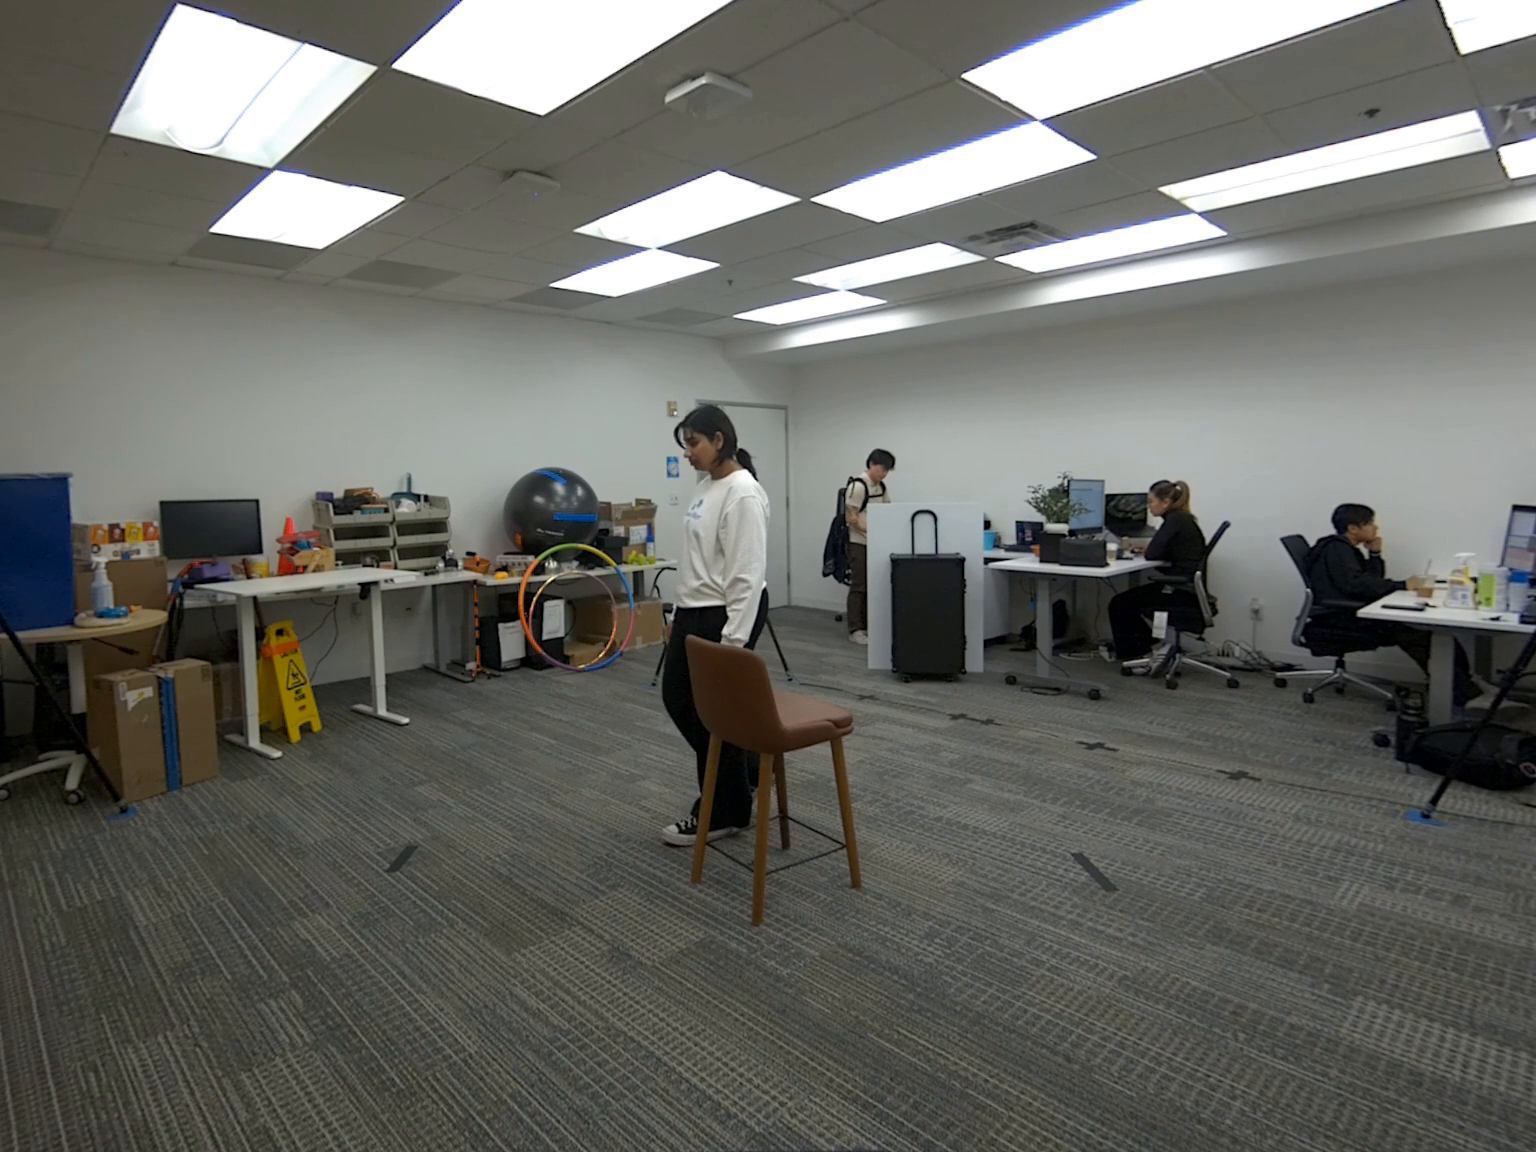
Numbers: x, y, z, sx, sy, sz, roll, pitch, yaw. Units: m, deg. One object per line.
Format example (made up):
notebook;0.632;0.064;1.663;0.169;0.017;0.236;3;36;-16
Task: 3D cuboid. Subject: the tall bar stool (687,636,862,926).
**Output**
tall bar stool;0.016;0.628;2.918;0.456;0.885;0.470;-6;7;-37
